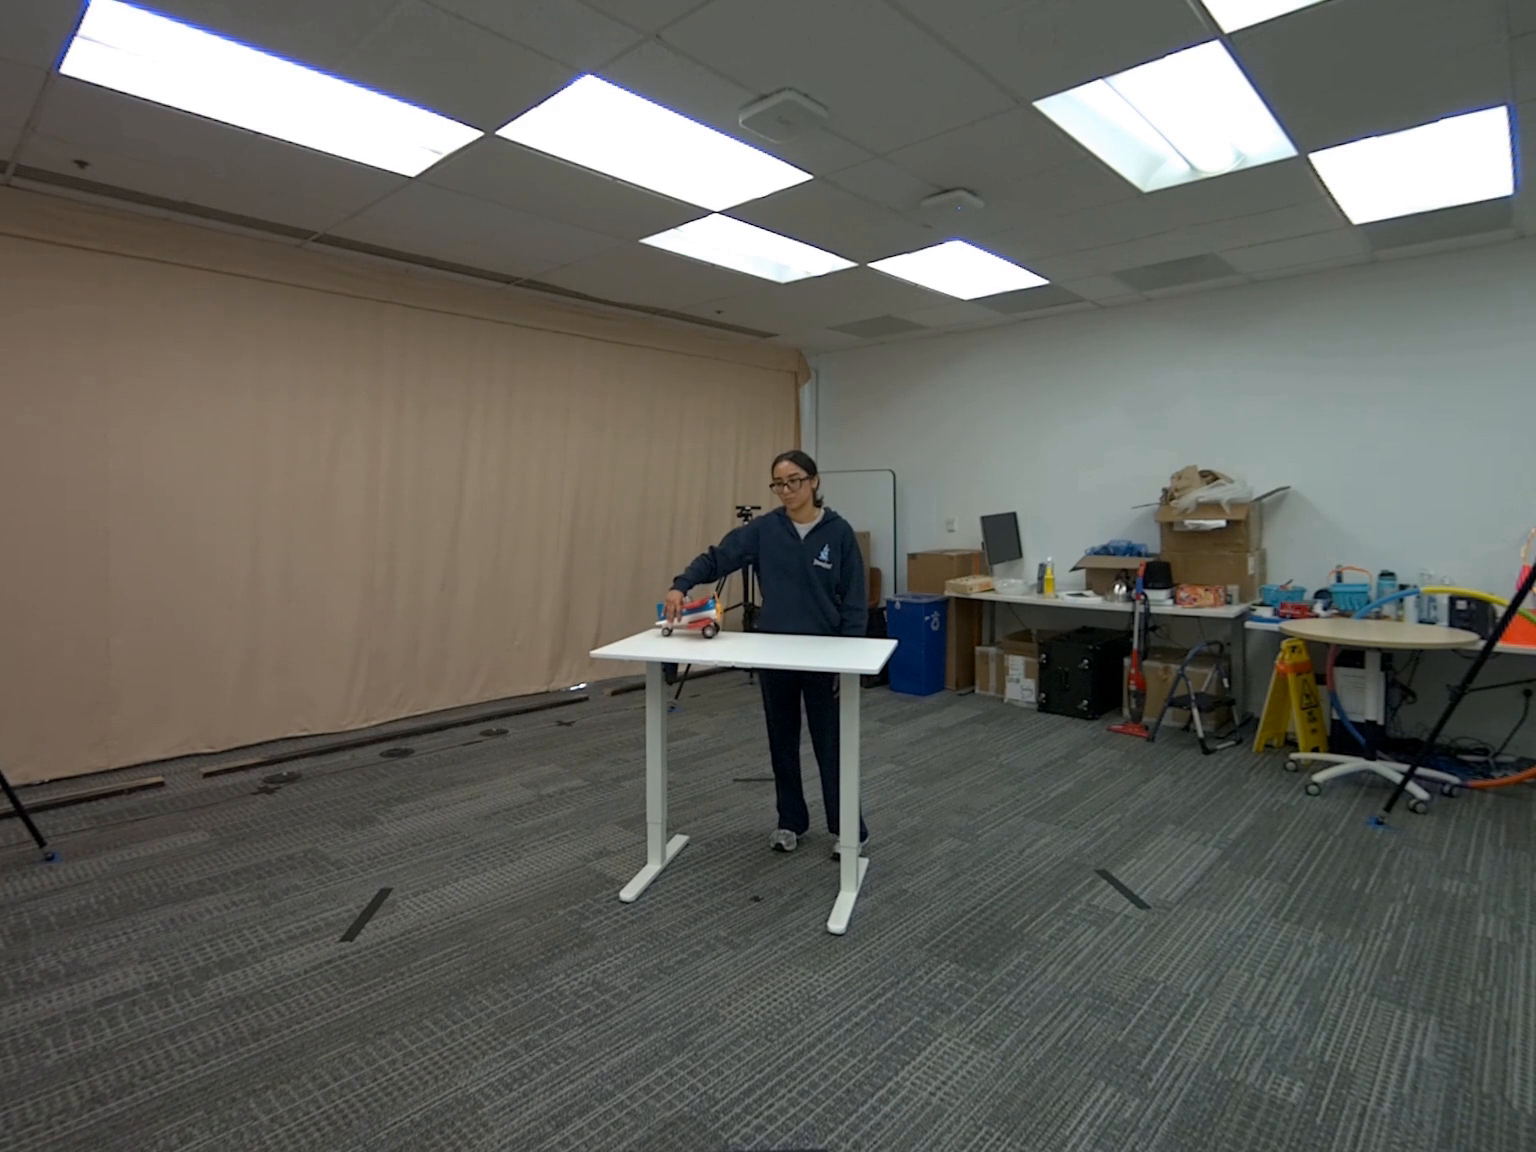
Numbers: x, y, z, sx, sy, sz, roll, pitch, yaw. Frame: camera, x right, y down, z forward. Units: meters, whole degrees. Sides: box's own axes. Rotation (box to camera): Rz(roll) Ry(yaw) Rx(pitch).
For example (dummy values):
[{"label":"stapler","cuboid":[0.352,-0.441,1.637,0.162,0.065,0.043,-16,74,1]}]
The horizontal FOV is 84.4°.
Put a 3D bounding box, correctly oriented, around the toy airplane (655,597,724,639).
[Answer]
[{"label":"toy airplane","cuboid":[-0.292,0.164,3.281,0.254,0.156,0.256,-2,5,-19]}]
